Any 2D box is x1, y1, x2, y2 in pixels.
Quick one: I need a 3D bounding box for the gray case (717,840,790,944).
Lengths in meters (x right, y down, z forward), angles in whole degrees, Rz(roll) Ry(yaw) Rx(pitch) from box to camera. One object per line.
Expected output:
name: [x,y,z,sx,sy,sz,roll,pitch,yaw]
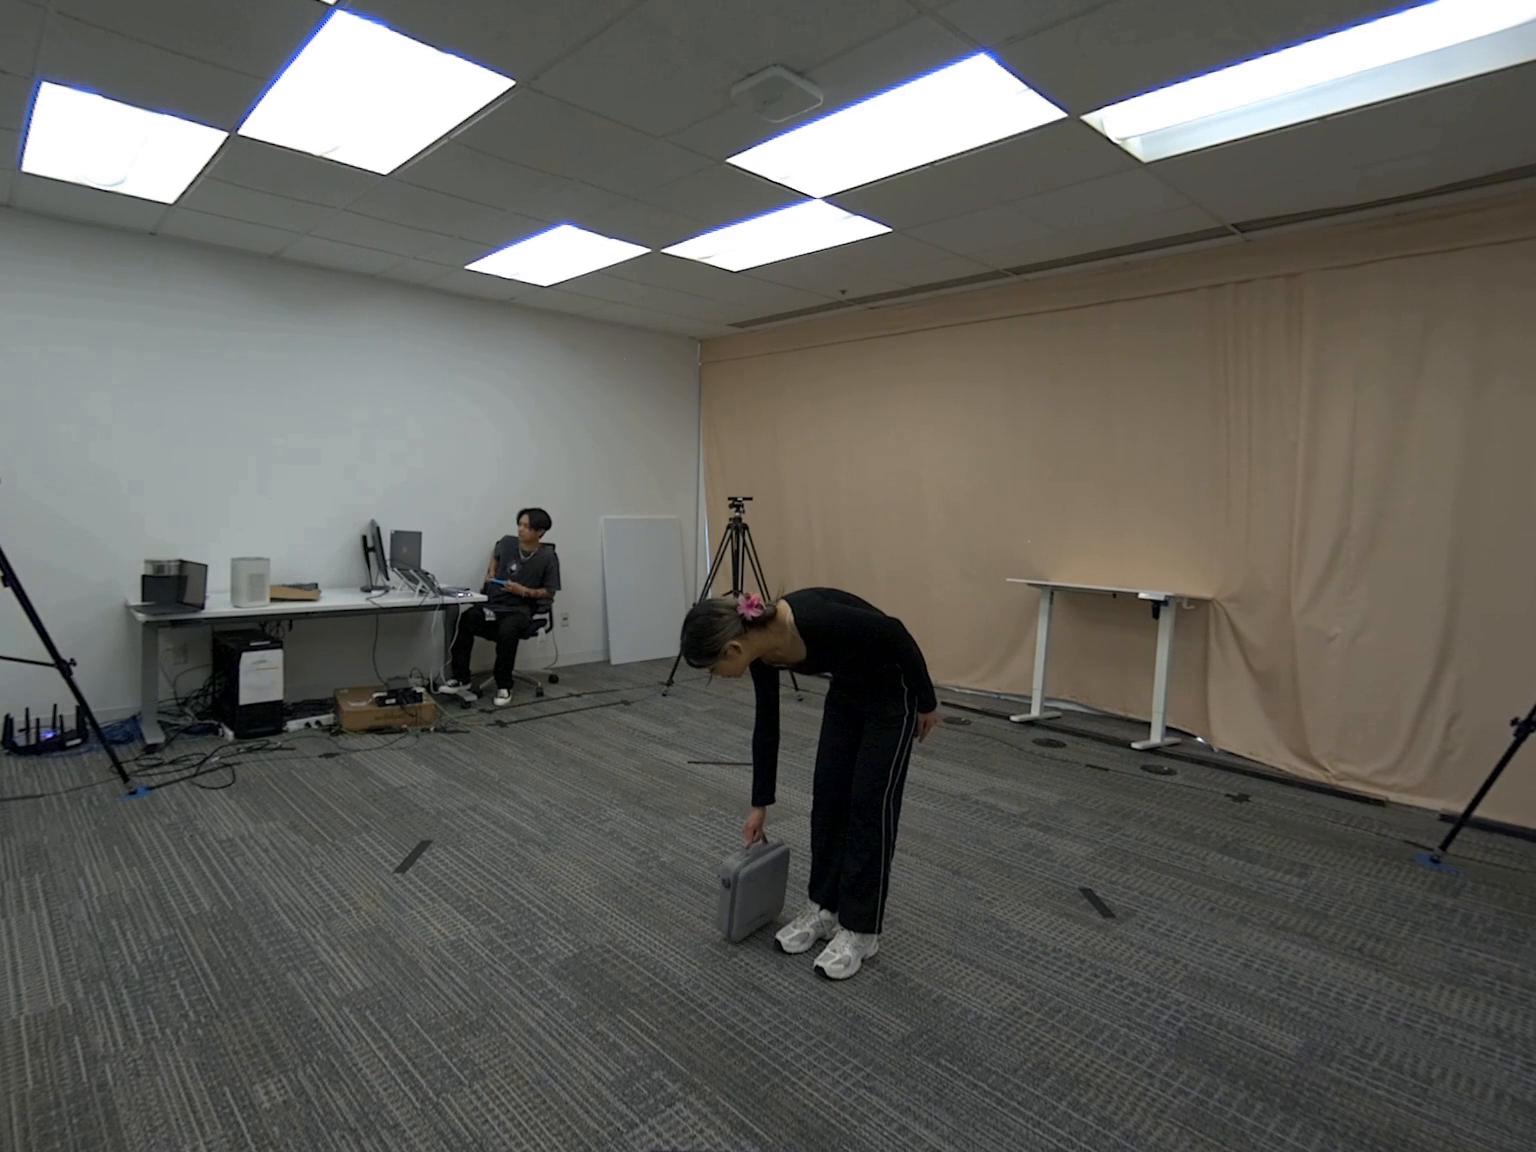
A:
gray case: [-0.054,0.982,2.694,0.107,0.259,0.251,10,11,38]
